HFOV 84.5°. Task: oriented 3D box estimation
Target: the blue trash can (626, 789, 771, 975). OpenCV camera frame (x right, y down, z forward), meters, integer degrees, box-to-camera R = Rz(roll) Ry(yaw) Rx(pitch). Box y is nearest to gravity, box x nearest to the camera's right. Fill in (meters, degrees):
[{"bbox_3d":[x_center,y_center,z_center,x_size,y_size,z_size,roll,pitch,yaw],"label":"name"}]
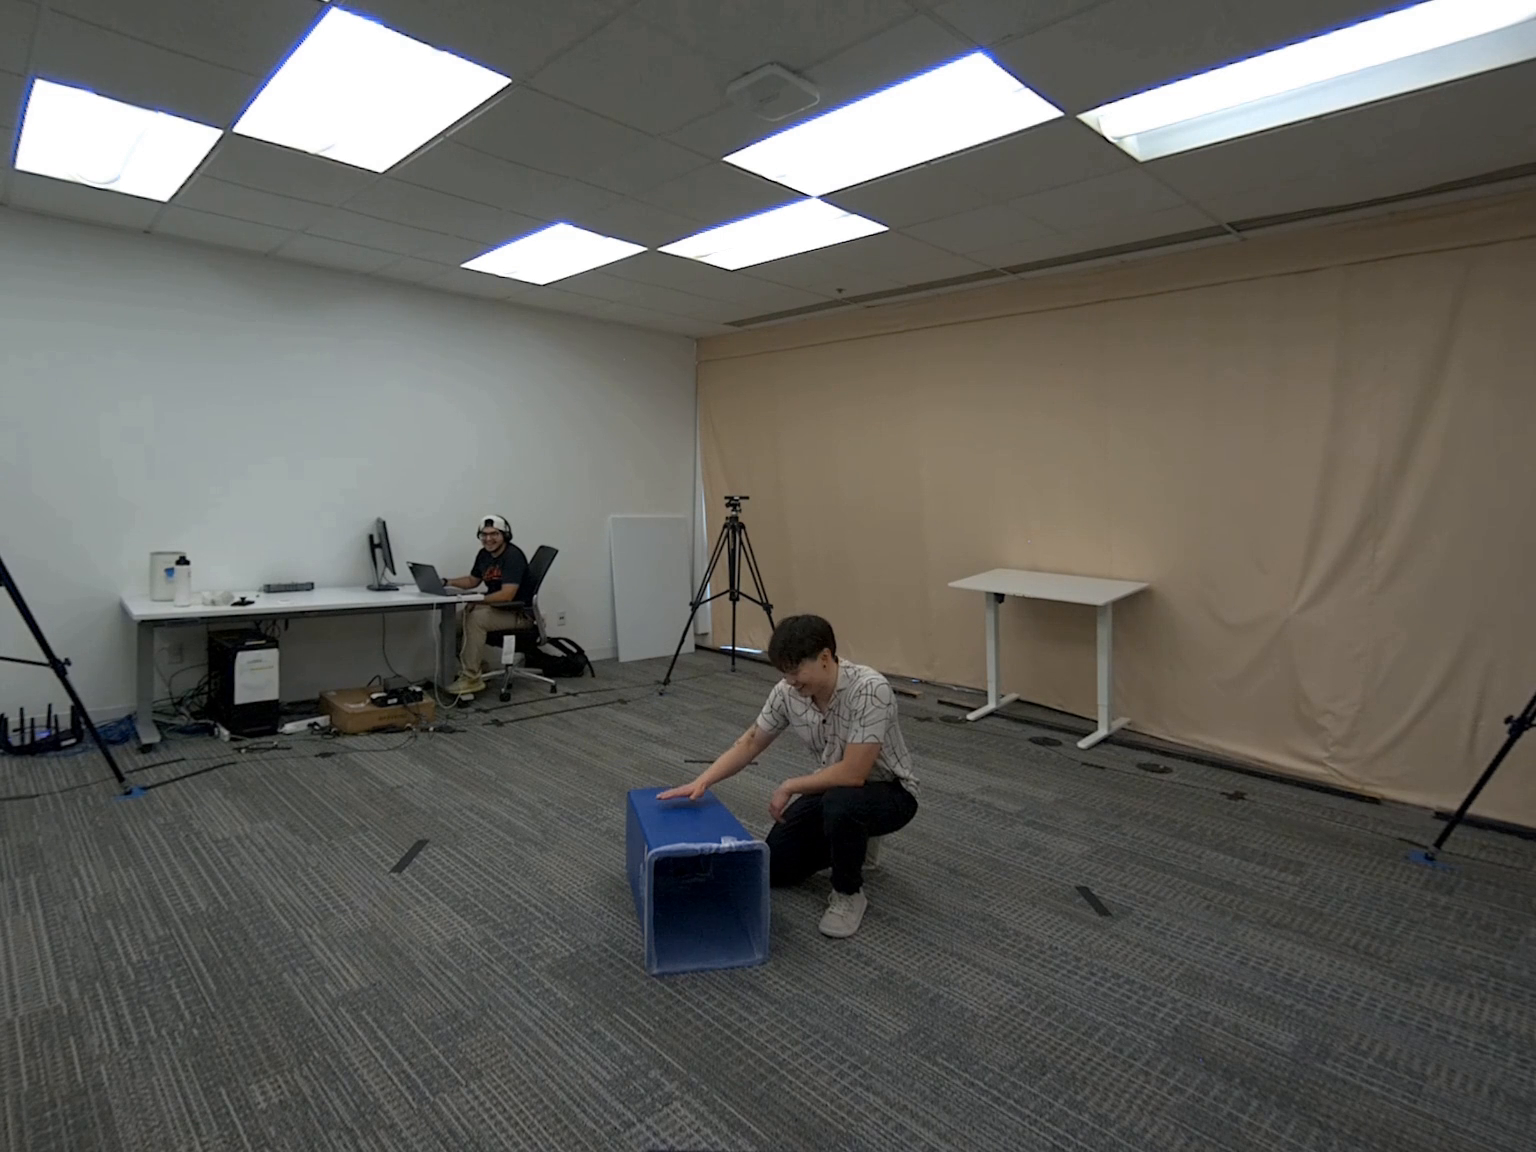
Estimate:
[{"bbox_3d":[-0.274,0.959,2.808,0.373,0.374,0.722,1,1,-16],"label":"blue trash can"}]
